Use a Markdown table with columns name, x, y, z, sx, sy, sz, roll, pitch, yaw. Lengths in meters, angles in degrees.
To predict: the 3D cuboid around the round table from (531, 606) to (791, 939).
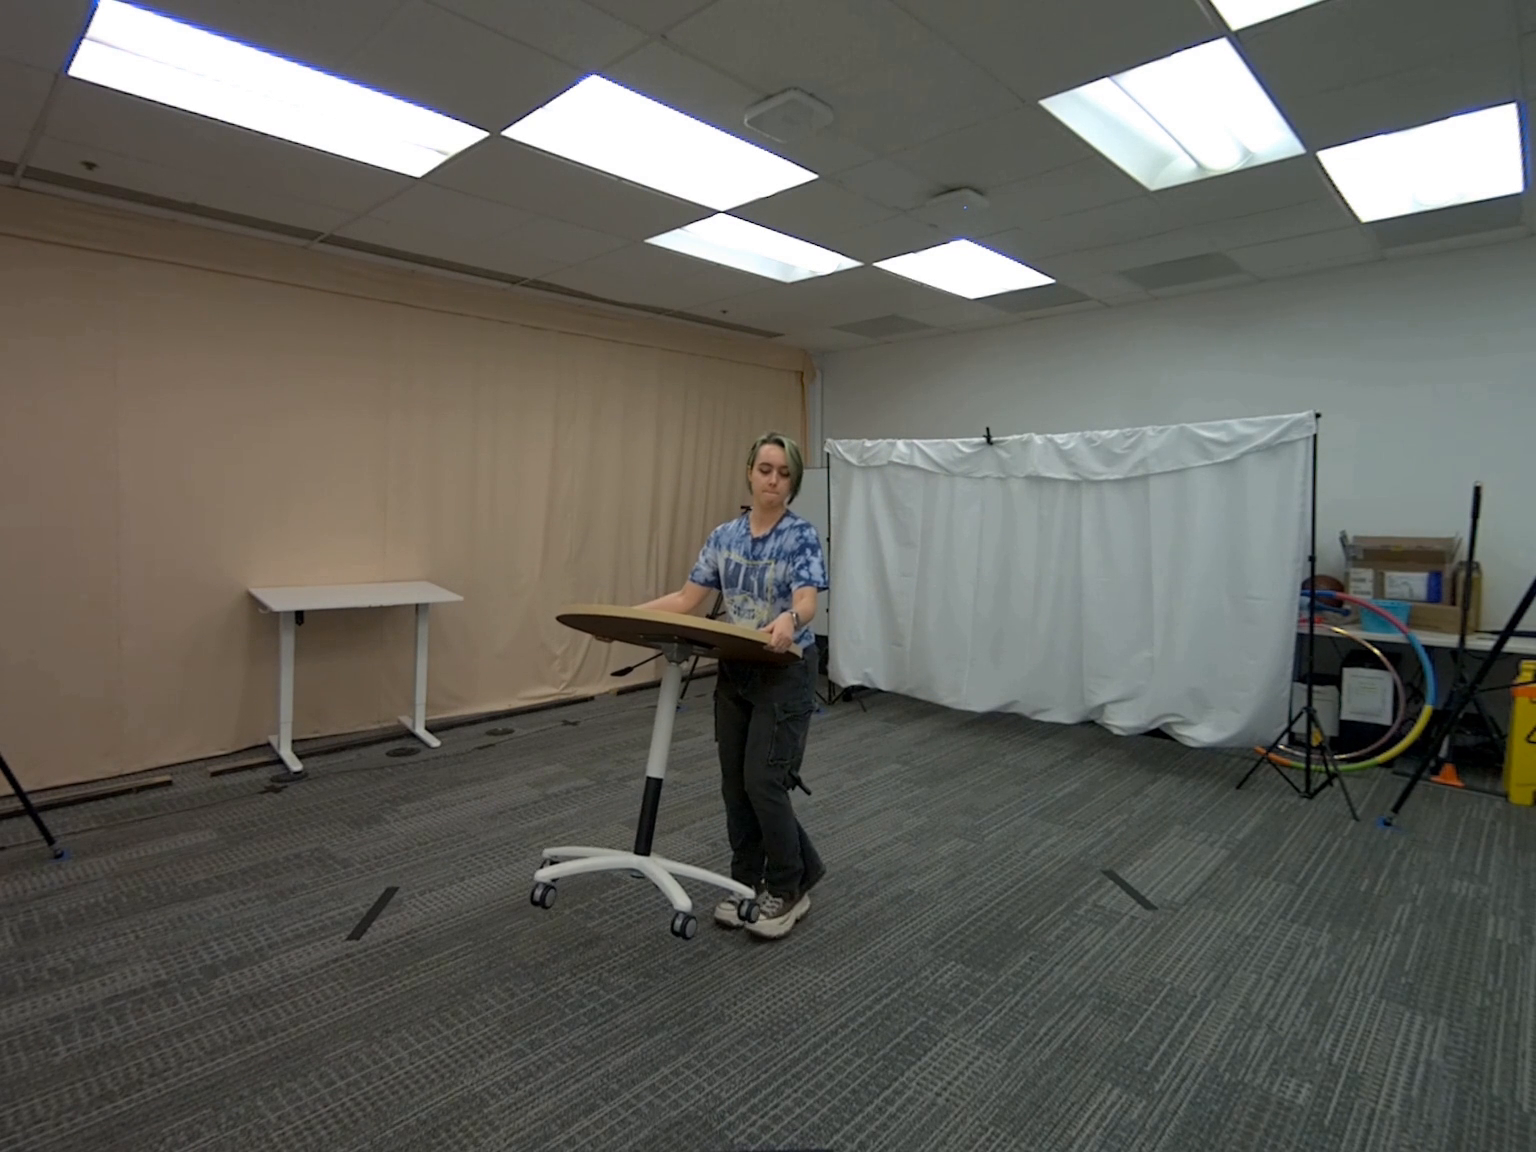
| name | x | y | z | sx | sy | sz | roll | pitch | yaw |
| --- | --- | --- | --- | --- | --- | --- | --- | --- | --- |
| round table | -0.337 | 0.573 | 2.509 | 0.765 | 0.798 | 0.759 | 9 | -12 | 0 |
